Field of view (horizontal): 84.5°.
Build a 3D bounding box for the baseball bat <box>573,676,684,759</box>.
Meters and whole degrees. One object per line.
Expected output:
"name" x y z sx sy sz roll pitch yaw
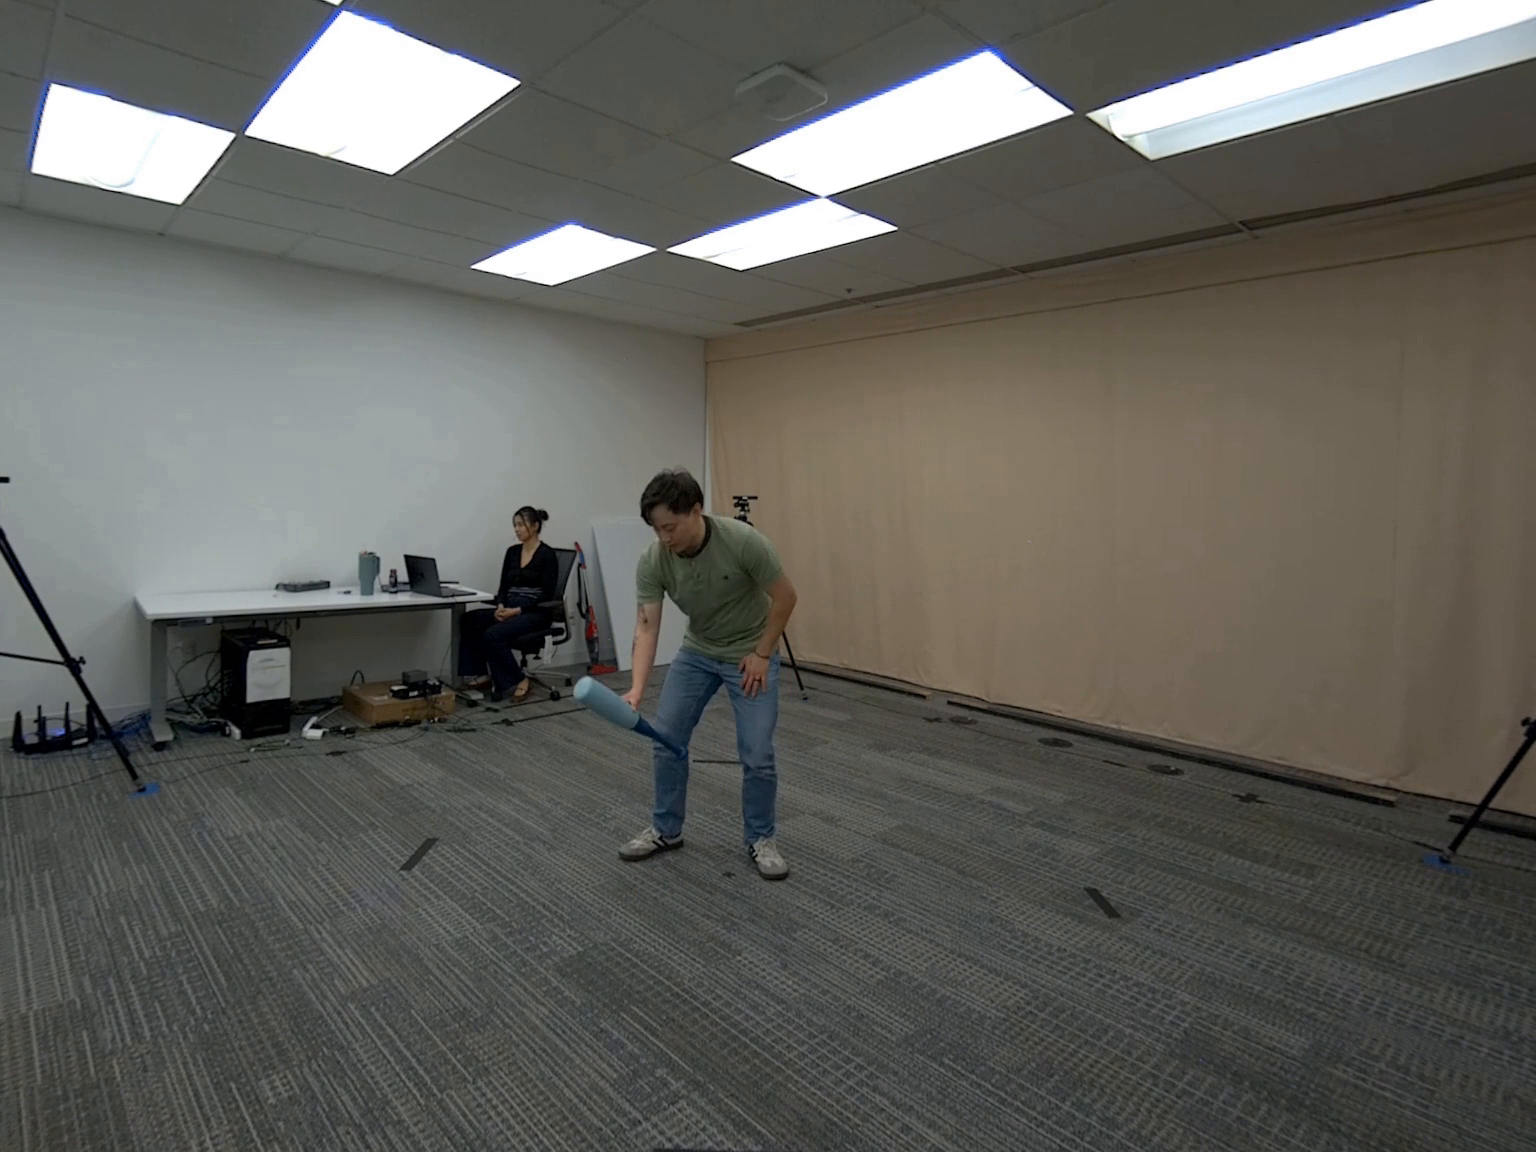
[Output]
"baseball bat" -0.456 0.509 2.871 0.091 0.089 0.526 5 -30 44
